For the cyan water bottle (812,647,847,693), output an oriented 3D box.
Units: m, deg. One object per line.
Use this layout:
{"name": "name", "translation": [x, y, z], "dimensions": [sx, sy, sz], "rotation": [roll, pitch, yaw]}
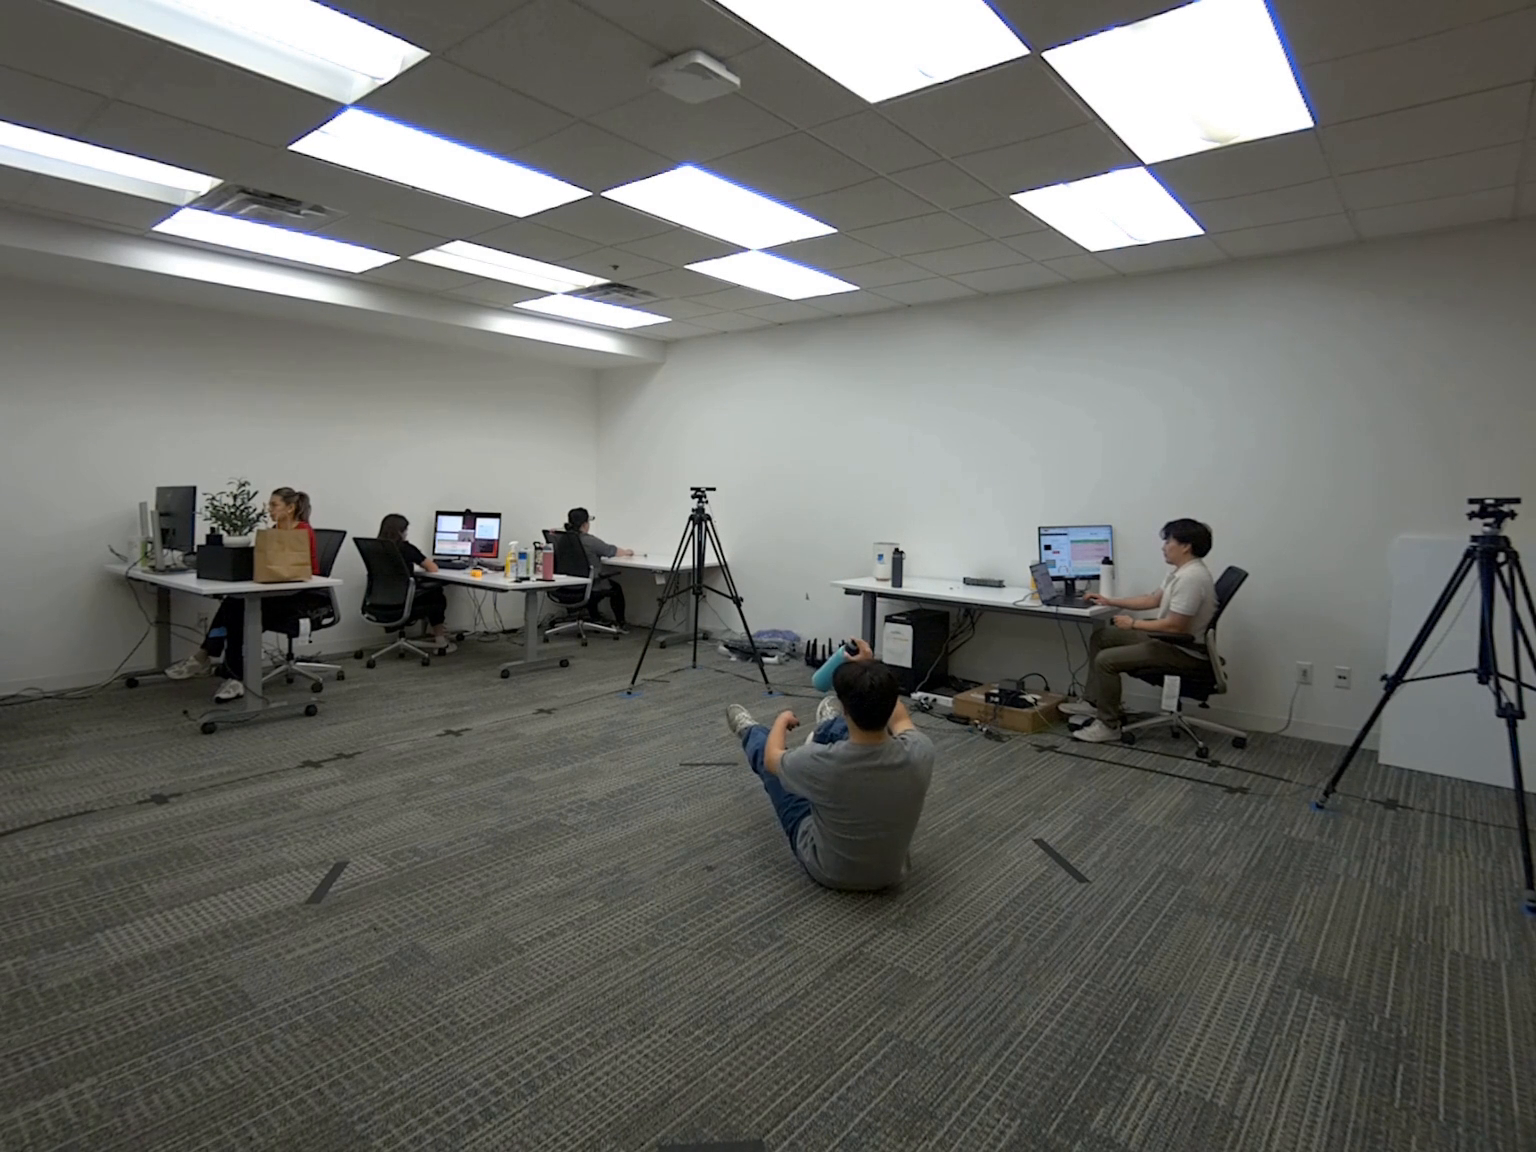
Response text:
{"name": "cyan water bottle", "translation": [0.261, 0.356, 3.396], "dimensions": [0.089, 0.095, 0.282], "rotation": [-2, -37, -38]}
